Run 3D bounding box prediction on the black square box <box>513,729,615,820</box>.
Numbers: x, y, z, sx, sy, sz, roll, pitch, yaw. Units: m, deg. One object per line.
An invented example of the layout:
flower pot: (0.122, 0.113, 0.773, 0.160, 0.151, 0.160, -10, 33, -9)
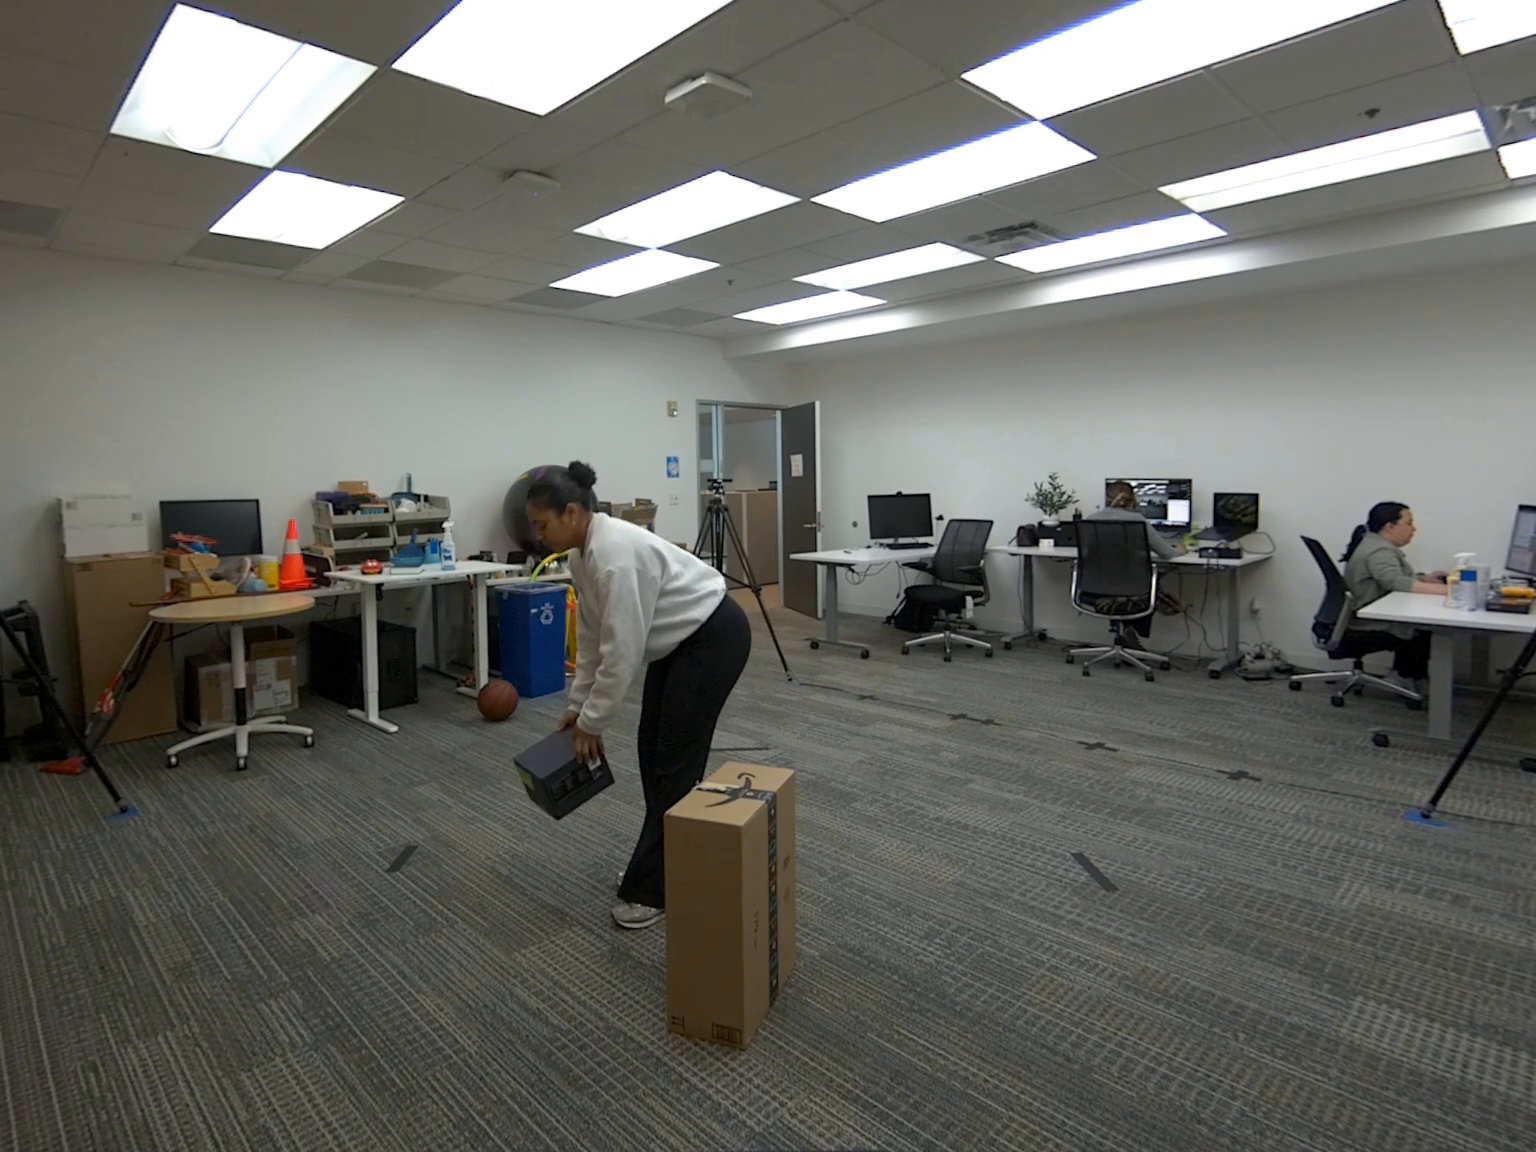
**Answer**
black square box: (-0.653, 0.621, 2.712, 0.214, 0.153, 0.235, -29, 23, -32)
